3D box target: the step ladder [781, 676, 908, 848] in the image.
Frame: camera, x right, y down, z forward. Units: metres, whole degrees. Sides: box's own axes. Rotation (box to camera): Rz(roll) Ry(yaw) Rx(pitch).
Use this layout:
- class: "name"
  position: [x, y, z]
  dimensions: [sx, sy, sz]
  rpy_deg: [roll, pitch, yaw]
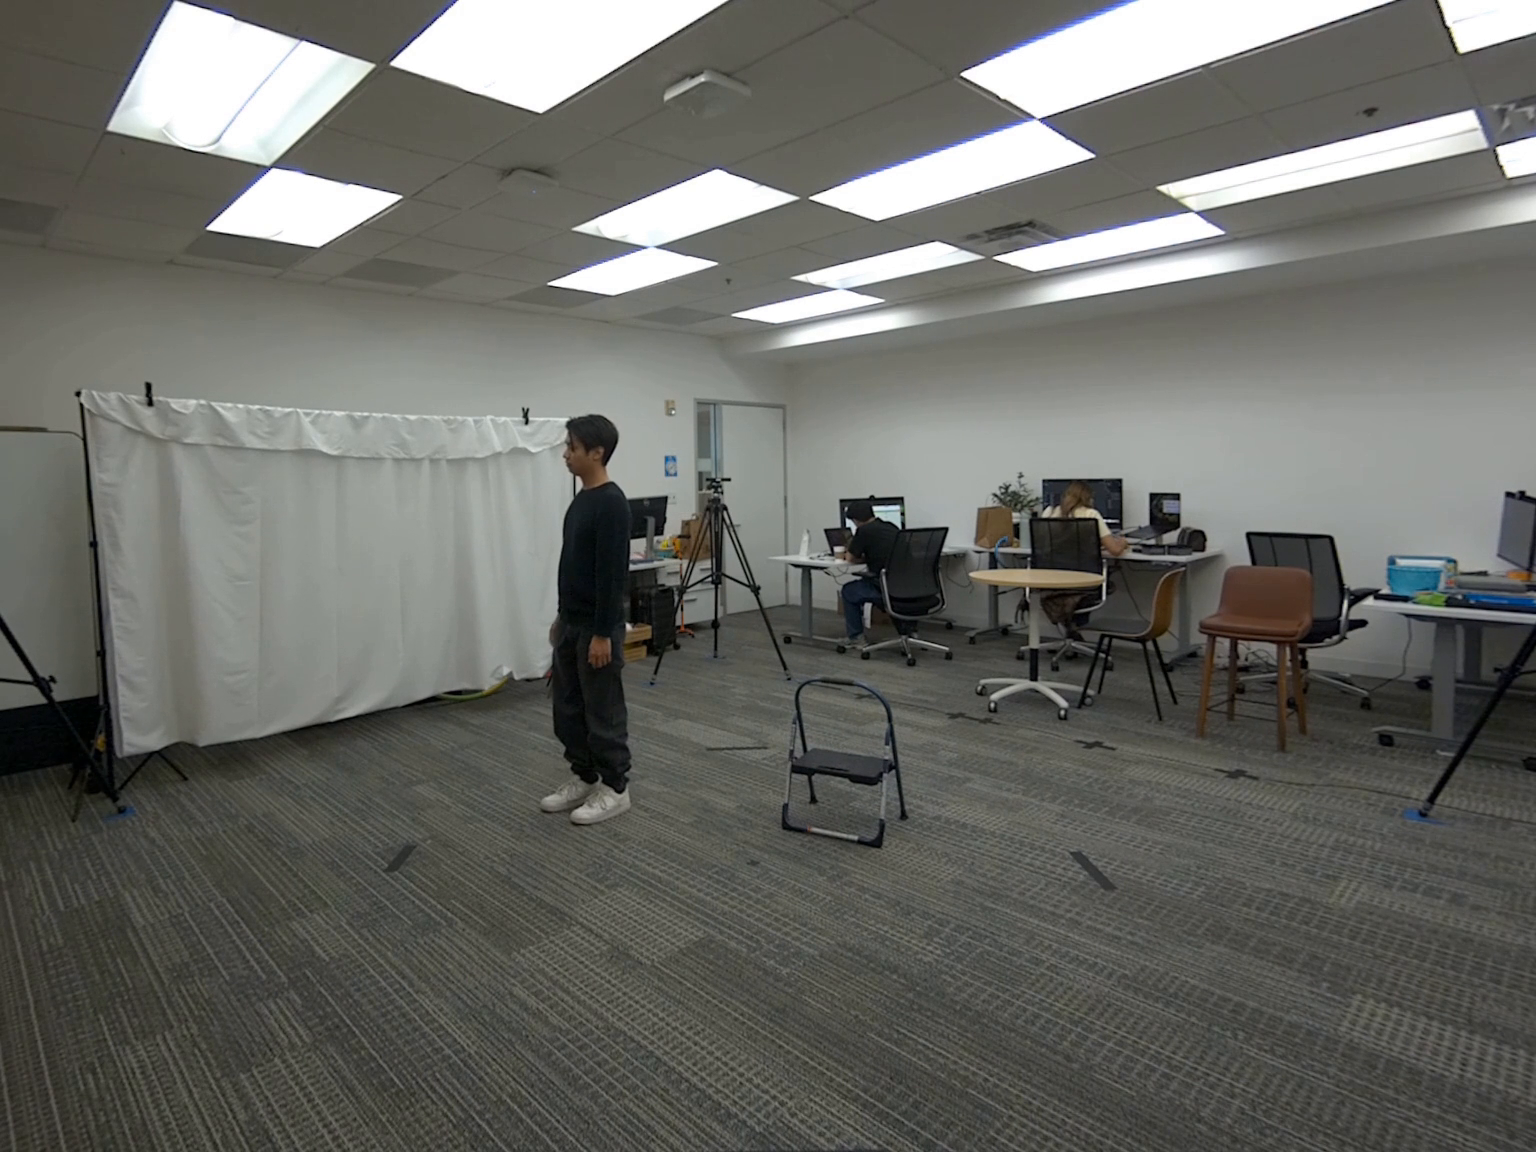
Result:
- class: "step ladder"
  position: [0.305, 0.696, 3.431]
  dimensions: [0.441, 0.604, 0.342]
  rpy_deg: [0, 3, 27]
